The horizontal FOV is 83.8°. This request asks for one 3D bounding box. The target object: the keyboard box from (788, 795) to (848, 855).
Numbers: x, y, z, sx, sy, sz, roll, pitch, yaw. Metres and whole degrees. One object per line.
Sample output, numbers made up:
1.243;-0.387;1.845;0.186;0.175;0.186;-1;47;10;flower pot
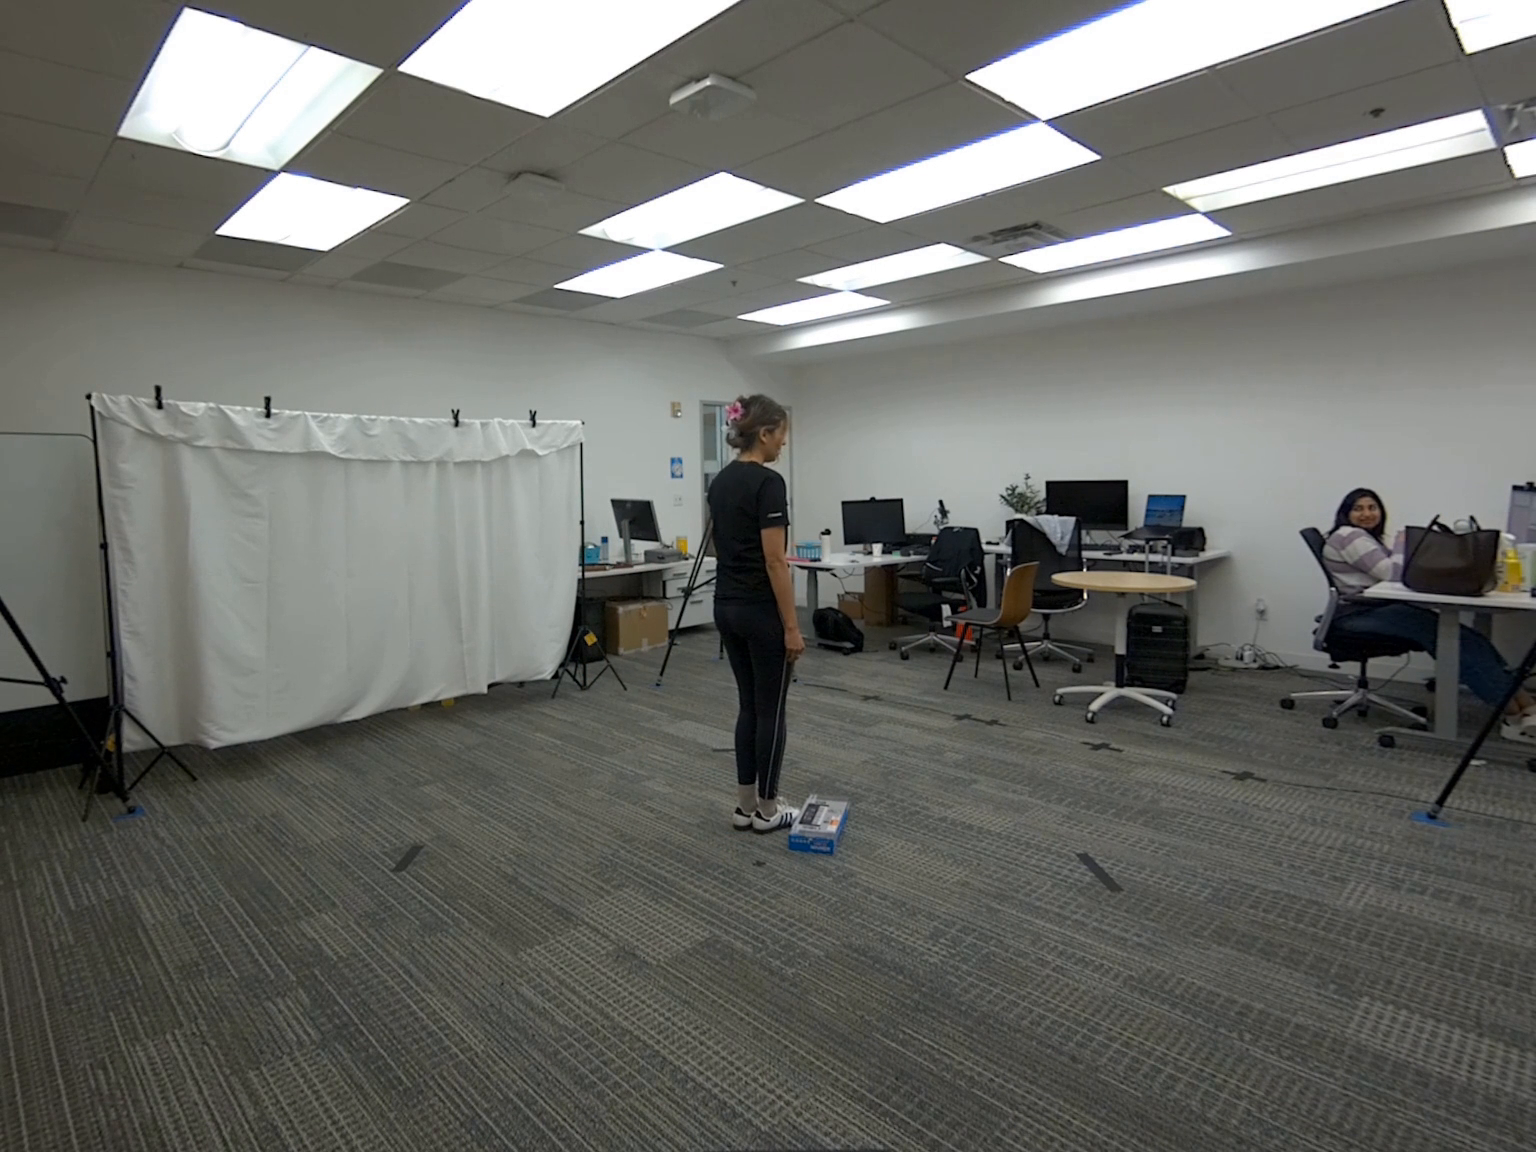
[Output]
0.211;0.980;3.403;0.178;0.059;0.432;1;7;14;keyboard box
